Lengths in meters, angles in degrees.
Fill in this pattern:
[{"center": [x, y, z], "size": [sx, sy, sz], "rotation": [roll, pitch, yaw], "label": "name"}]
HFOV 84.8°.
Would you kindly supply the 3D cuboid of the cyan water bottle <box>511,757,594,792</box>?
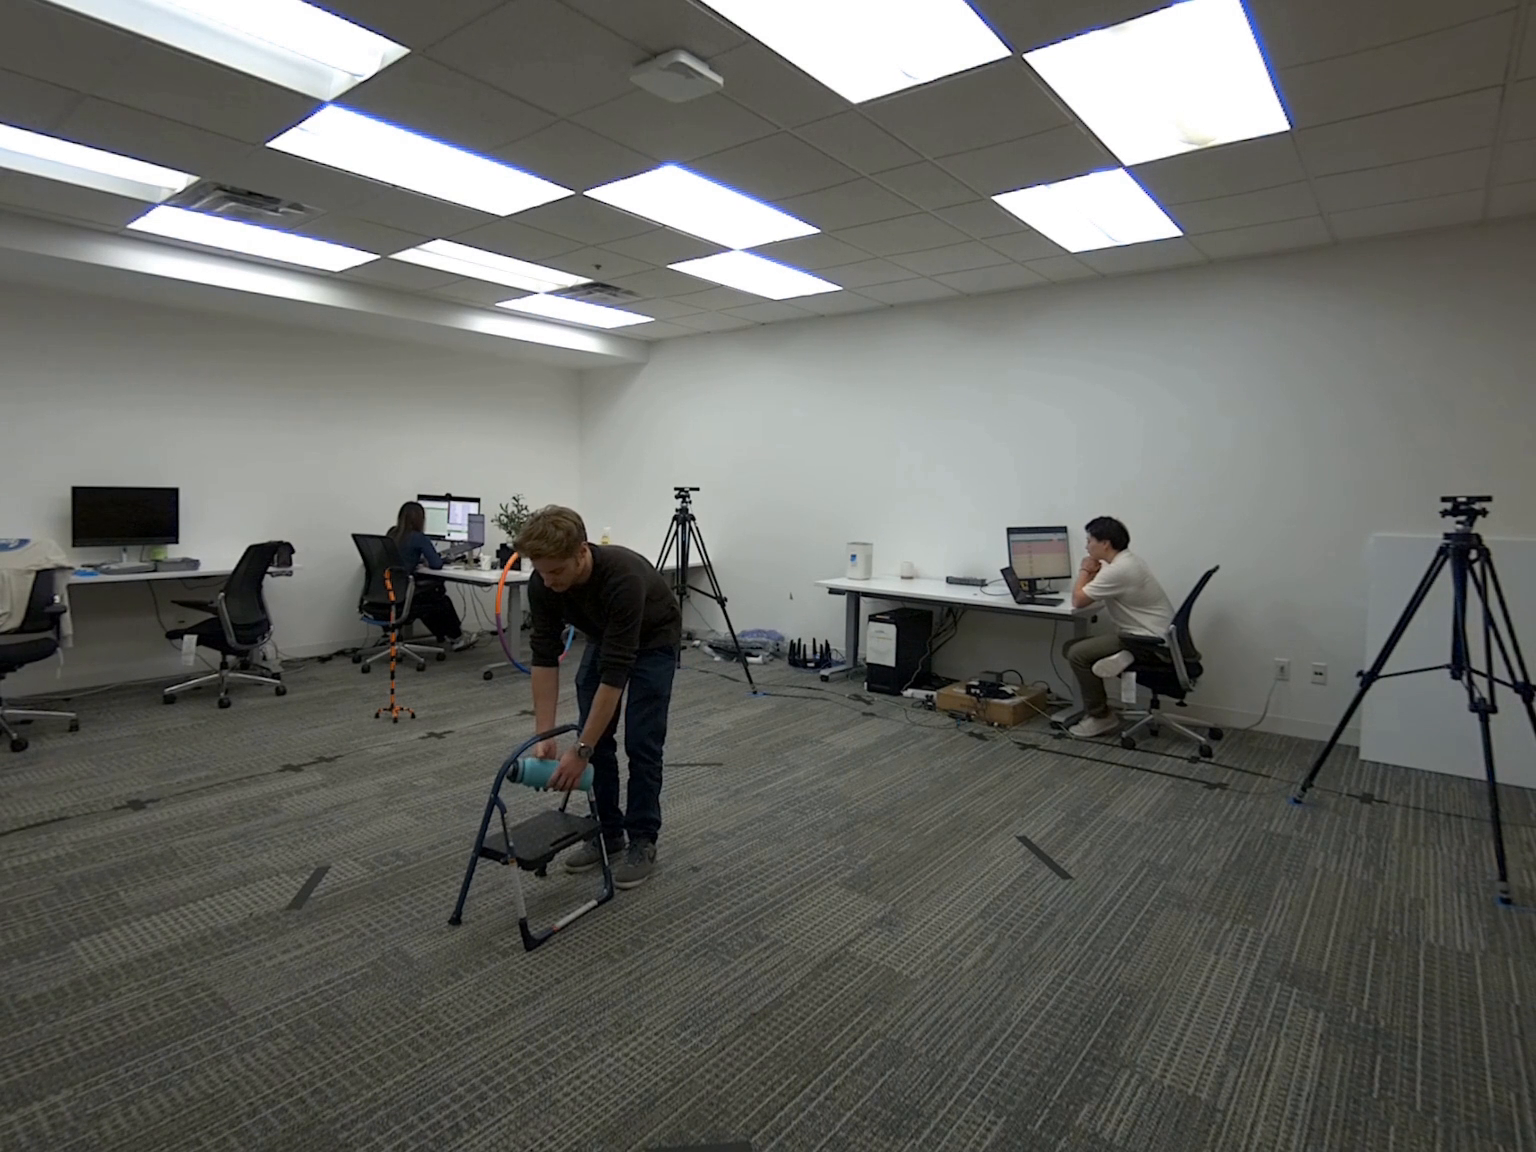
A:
[{"center": [-0.740, 0.656, 2.773], "size": [0.276, 0.092, 0.094], "rotation": [11, 0, -22], "label": "cyan water bottle"}]
